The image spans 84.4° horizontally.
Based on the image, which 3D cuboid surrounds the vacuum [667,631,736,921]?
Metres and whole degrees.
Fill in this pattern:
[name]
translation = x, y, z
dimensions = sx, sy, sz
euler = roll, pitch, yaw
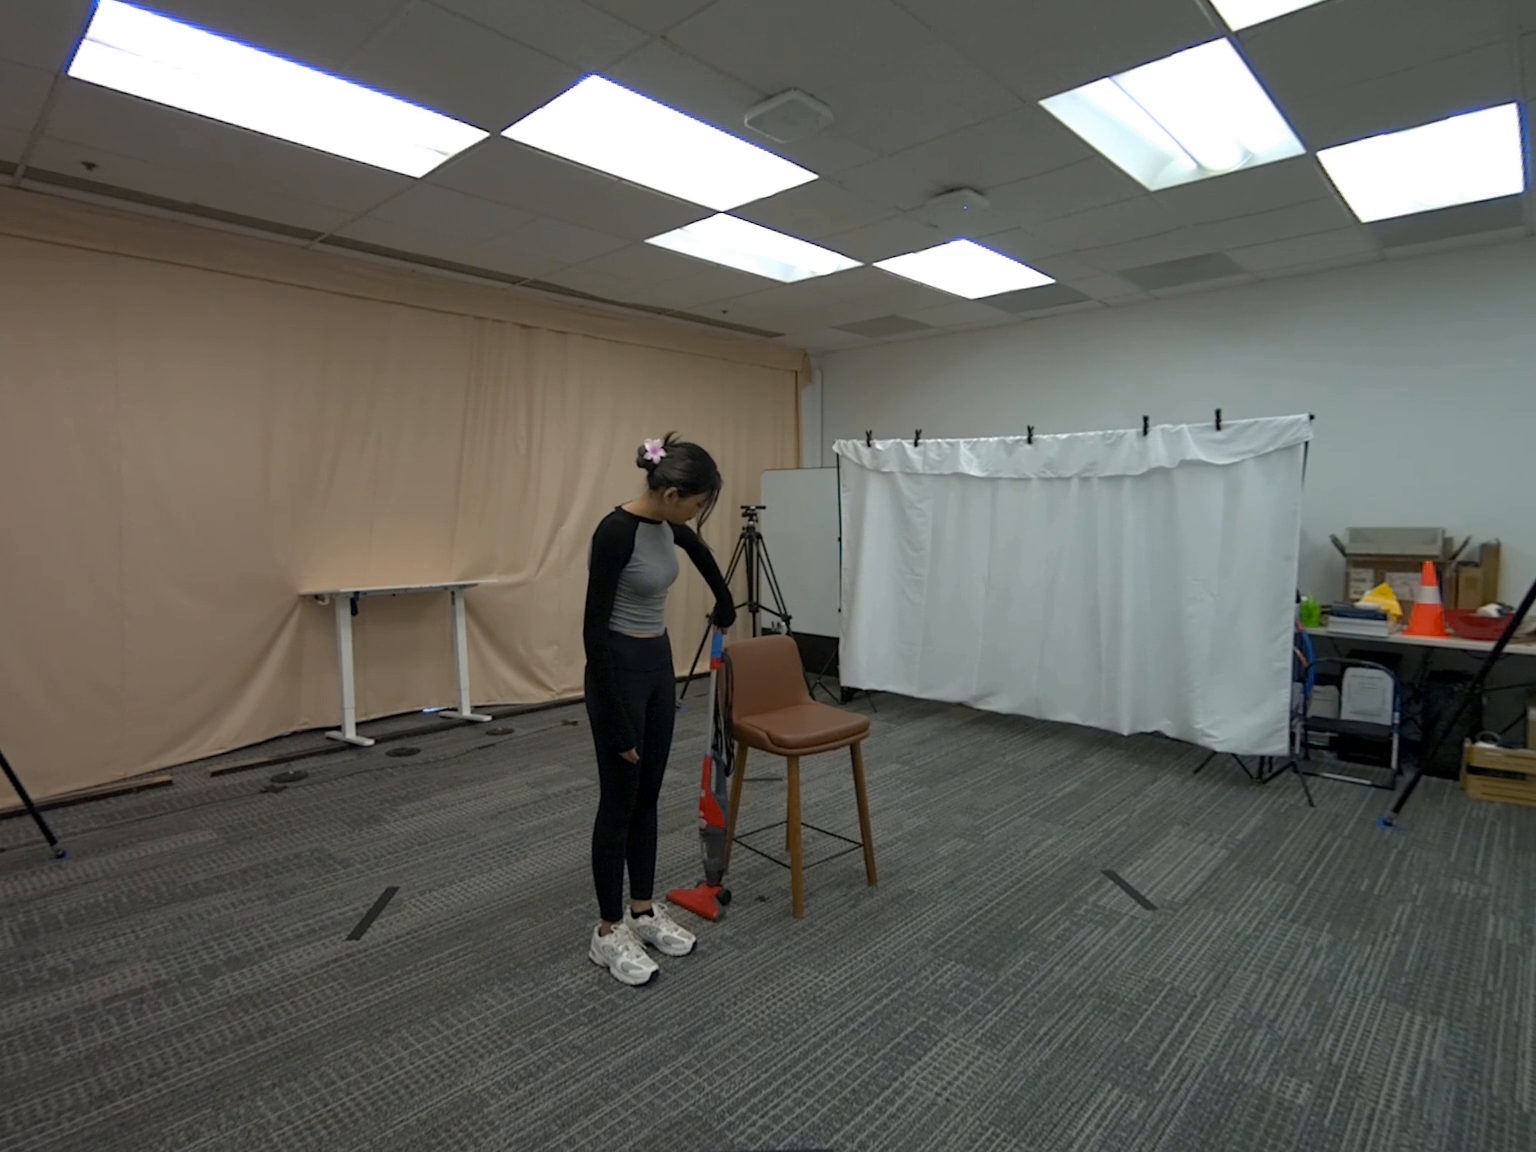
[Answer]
[vacuum]
translation = -0.177, 0.635, 2.994
dimensions = 0.139, 1.052, 0.260
euler = 10, -6, -40
